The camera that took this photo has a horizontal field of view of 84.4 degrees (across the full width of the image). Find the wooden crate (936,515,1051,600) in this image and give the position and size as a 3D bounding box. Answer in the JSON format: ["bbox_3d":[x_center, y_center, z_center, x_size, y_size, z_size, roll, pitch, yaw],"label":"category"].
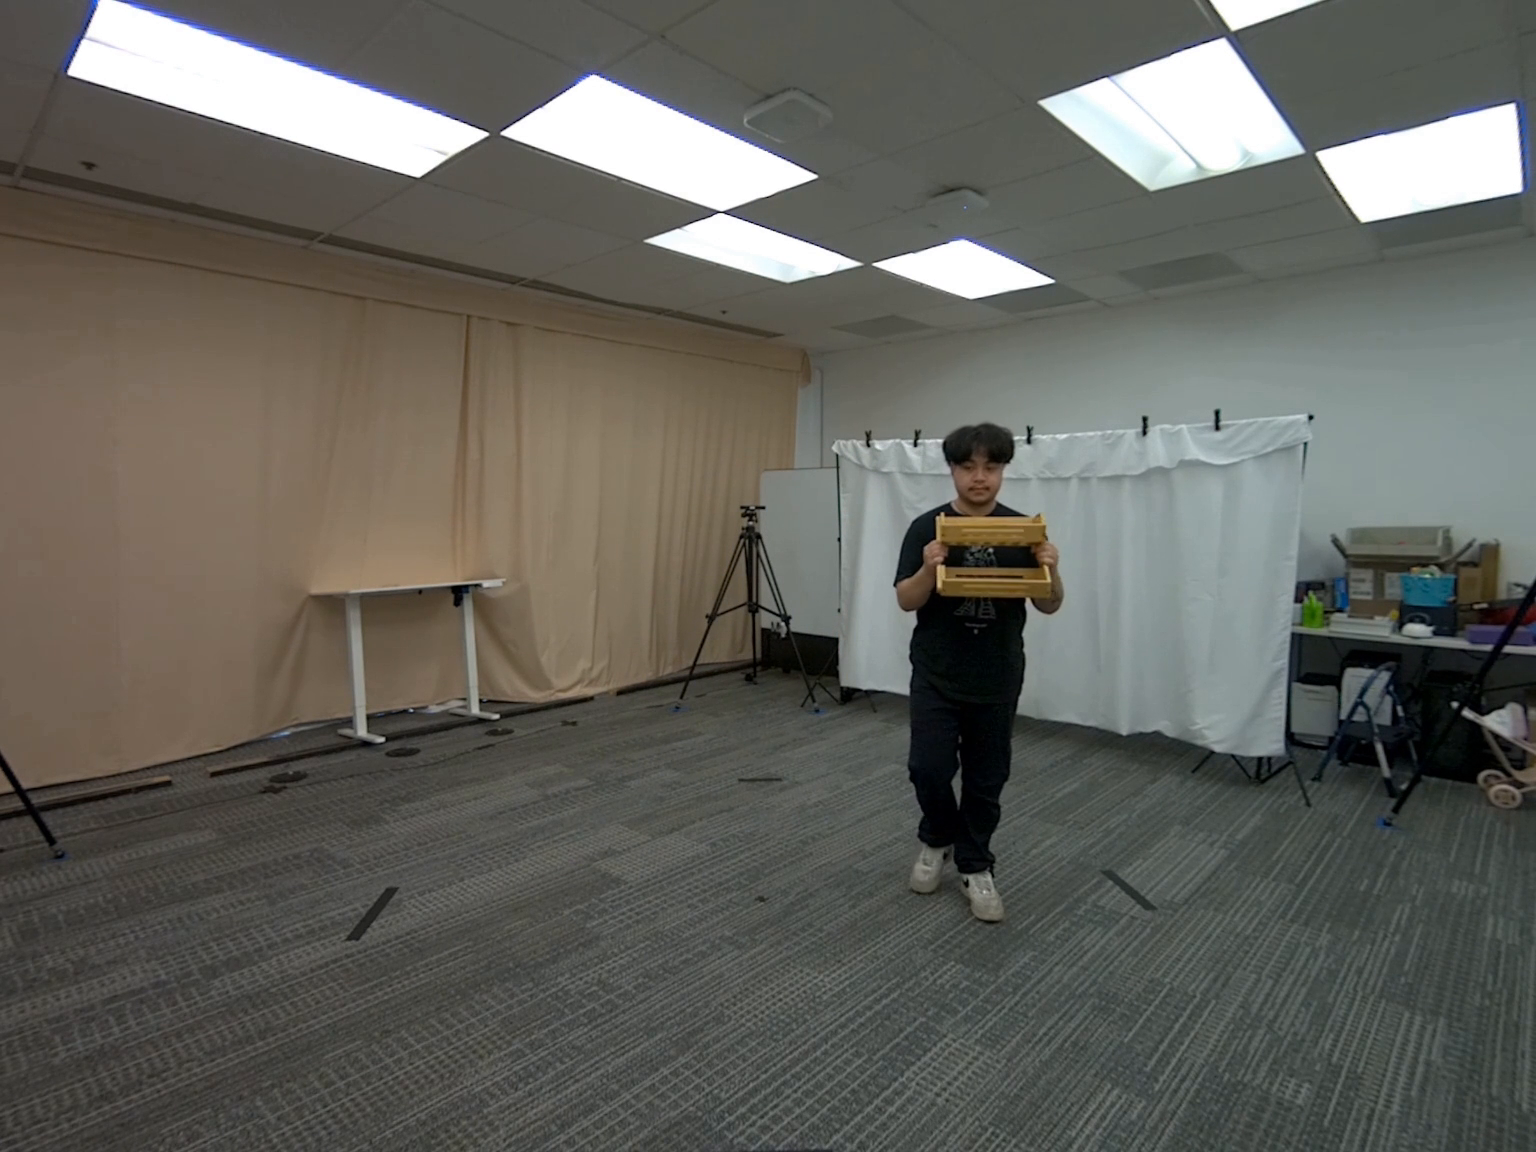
[{"bbox_3d":[0.705,-0.071,2.601,0.329,0.274,0.297,1,-3,11],"label":"wooden crate"}]
